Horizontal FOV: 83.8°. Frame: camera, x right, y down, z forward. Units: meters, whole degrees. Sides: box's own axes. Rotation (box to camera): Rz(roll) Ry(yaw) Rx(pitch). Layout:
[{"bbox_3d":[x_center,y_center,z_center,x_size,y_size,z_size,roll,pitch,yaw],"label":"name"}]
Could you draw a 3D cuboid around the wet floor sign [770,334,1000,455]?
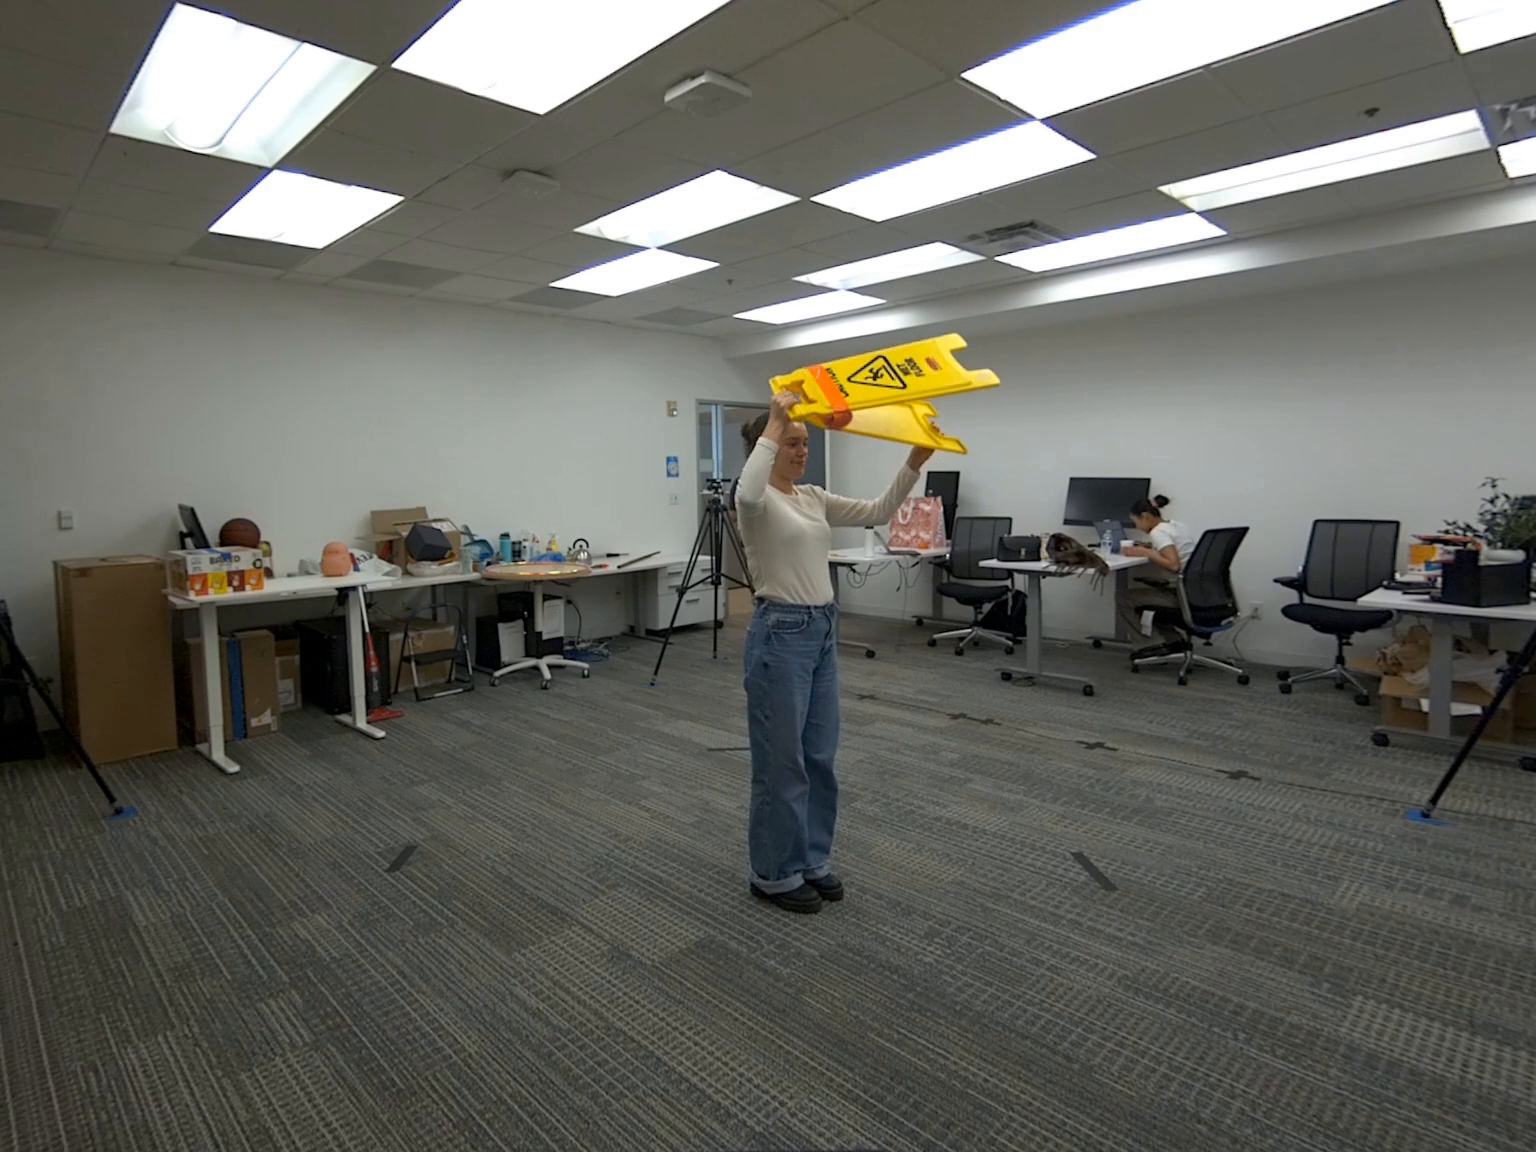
[{"bbox_3d":[0.325,-0.550,2.627,0.635,0.284,0.293,-6,46,-21],"label":"wet floor sign"}]
